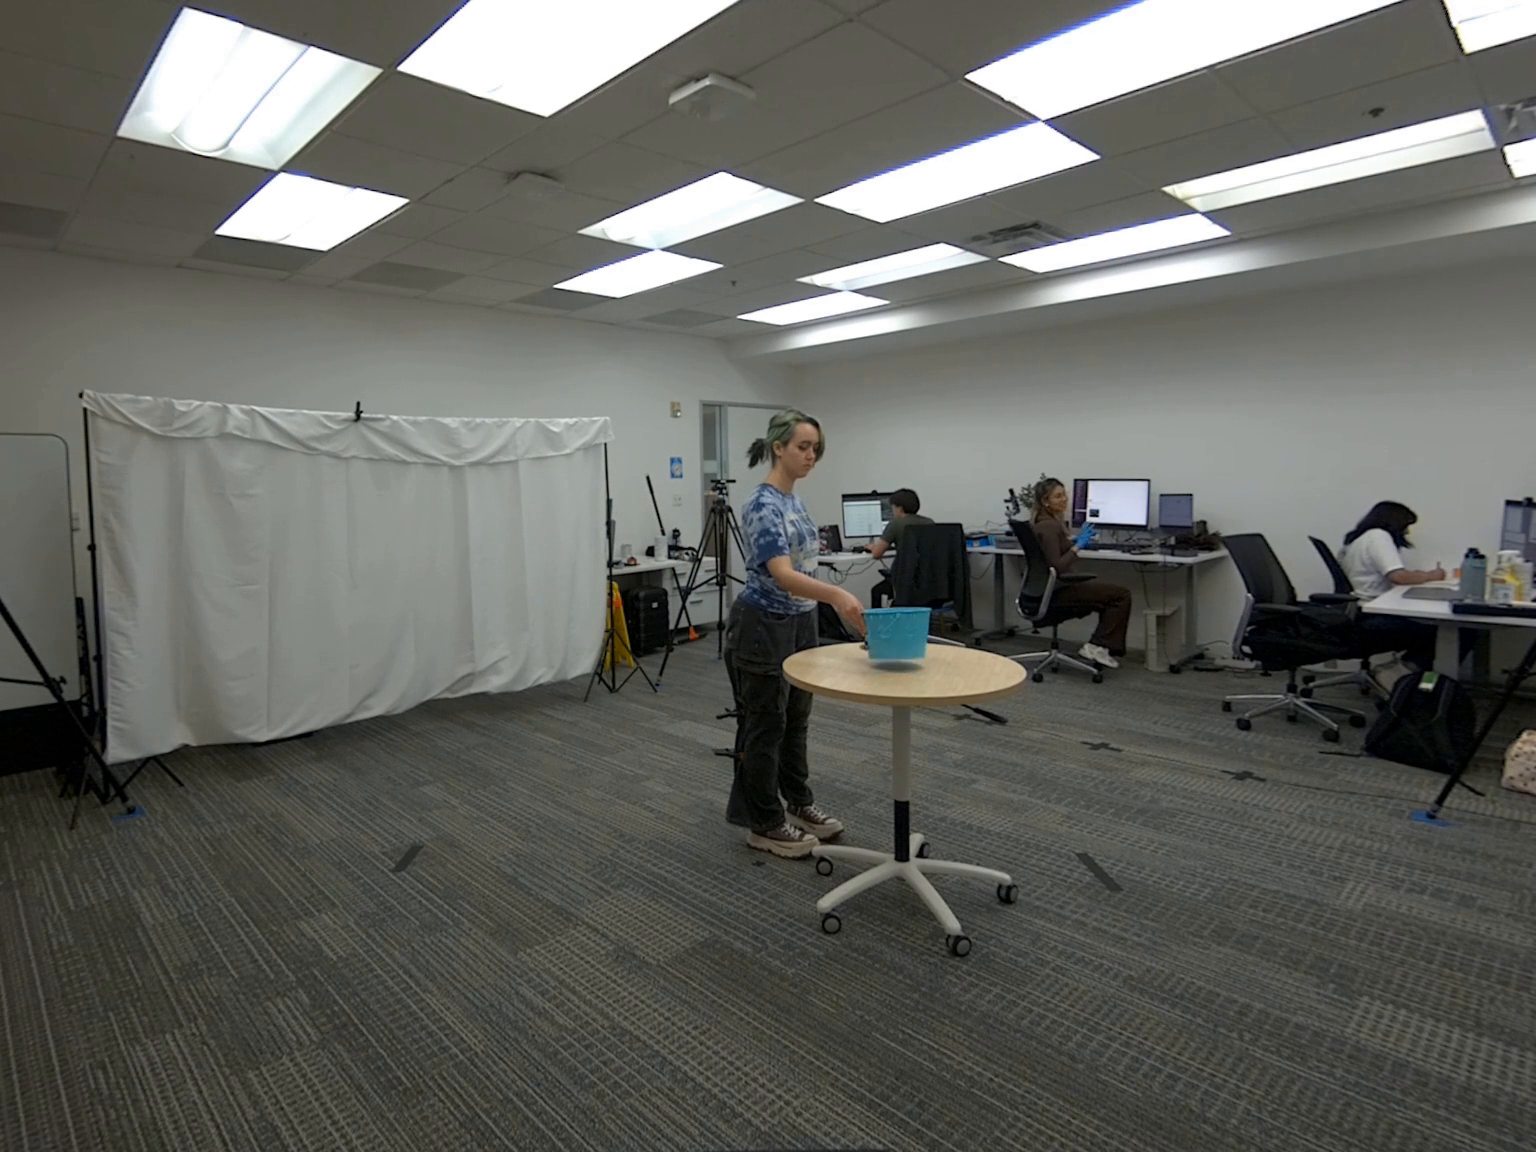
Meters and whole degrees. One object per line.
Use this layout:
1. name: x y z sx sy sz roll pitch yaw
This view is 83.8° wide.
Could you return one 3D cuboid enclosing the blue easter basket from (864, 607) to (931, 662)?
1. blue easter basket: 0.412 0.183 2.756 0.243 0.156 0.244 -2 0 -2
